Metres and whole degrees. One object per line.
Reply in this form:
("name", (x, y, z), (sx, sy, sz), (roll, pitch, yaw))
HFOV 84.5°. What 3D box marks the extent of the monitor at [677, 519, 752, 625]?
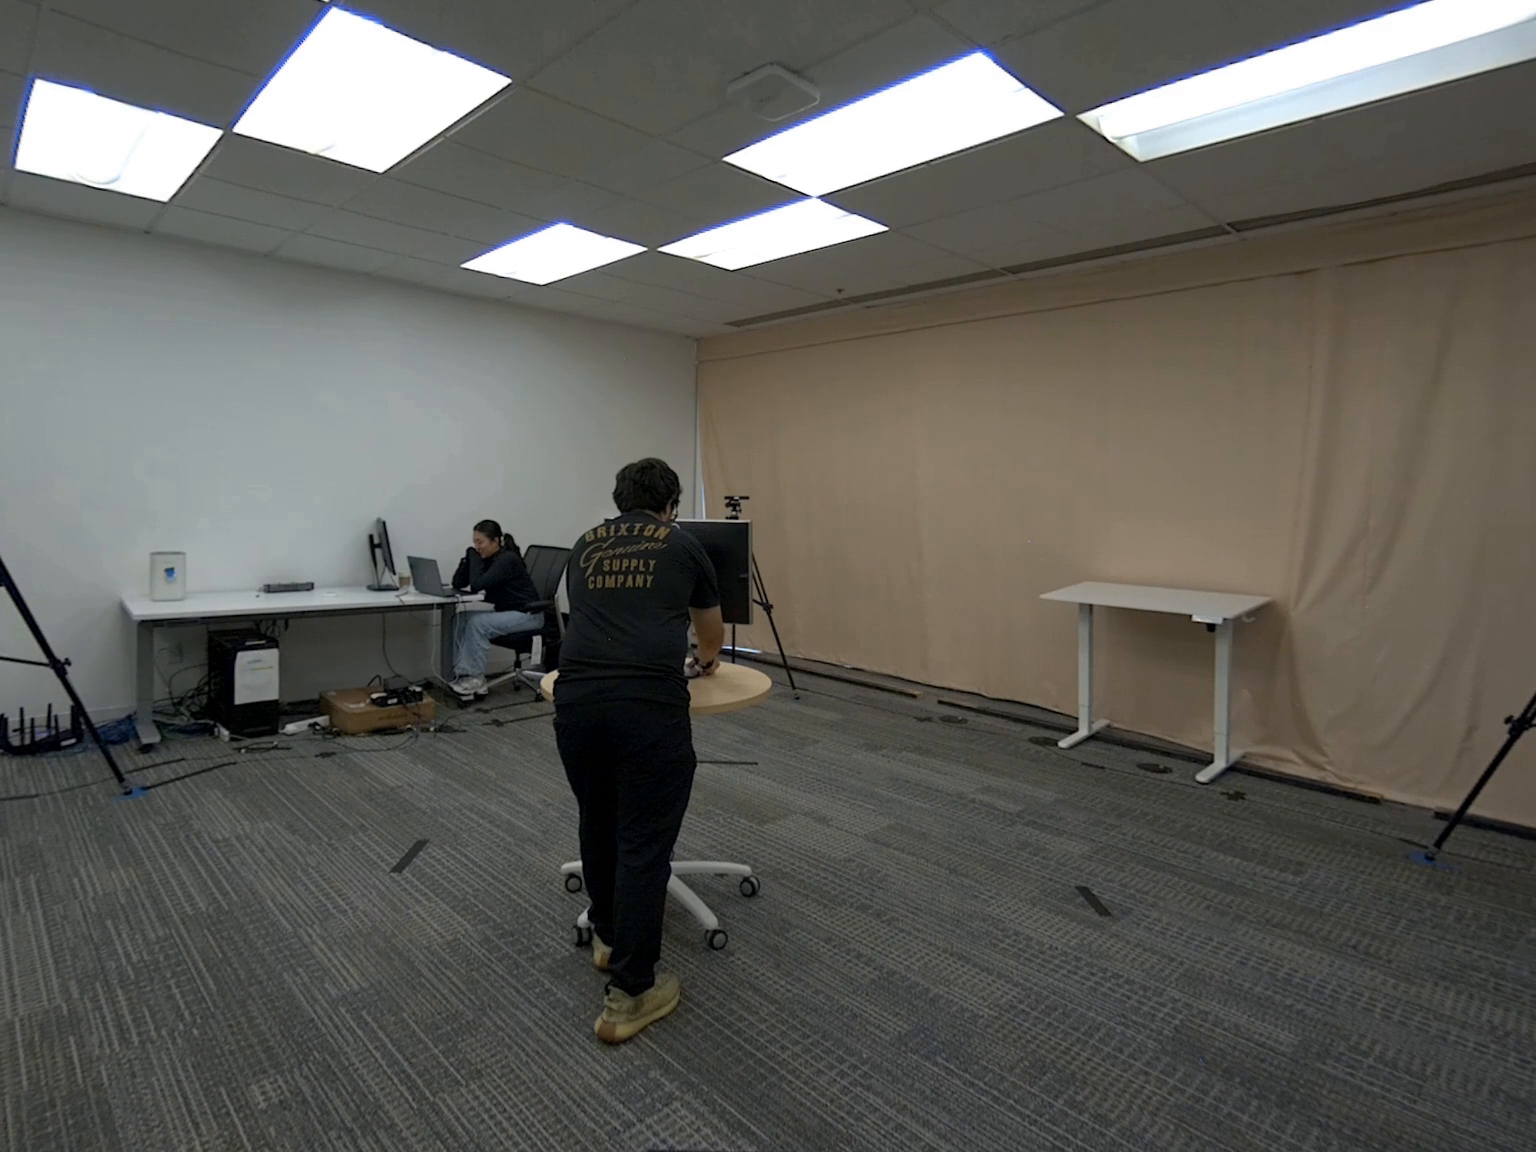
("monitor", (-0.344, 0.078, 2.923), (0.574, 0.552, 0.207), (2, 5, 20))
